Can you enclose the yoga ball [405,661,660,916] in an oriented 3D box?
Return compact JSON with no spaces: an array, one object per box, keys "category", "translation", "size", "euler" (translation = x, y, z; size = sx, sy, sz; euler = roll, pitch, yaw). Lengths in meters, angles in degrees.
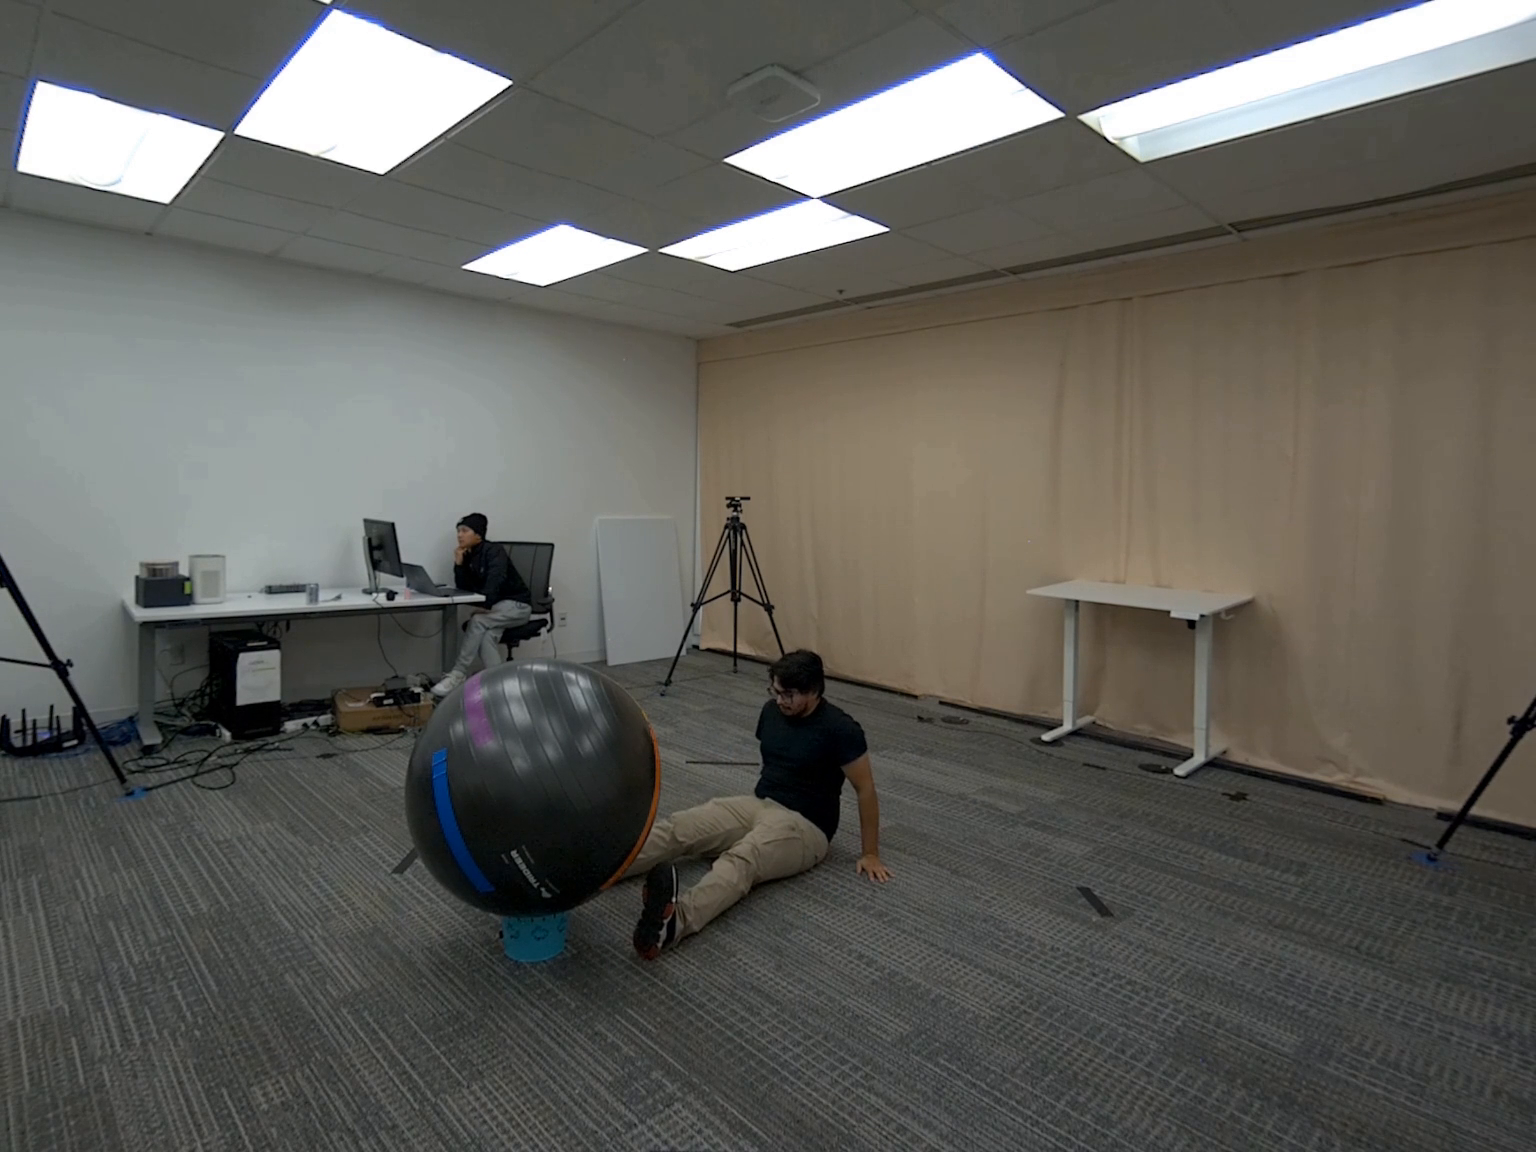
[{"category":"yoga ball","translation":[-0.713,0.636,2.567],"size":[0.757,0.756,0.761],"euler":[1,4,-1]}]
